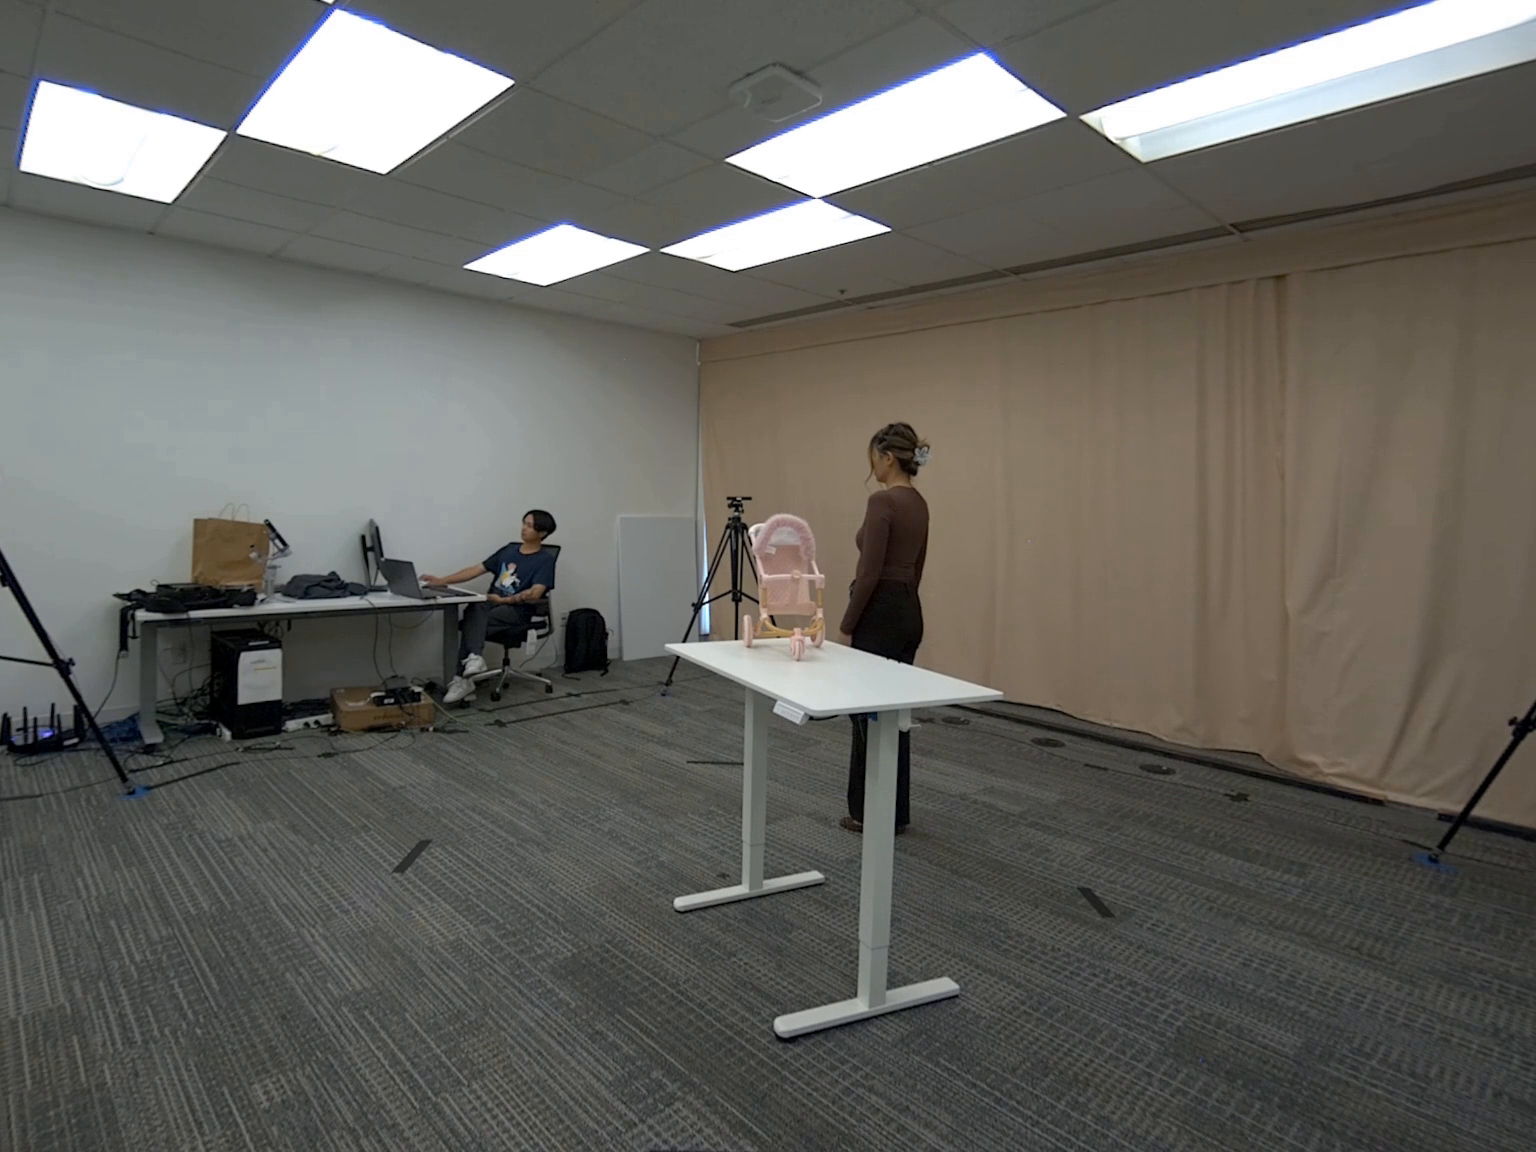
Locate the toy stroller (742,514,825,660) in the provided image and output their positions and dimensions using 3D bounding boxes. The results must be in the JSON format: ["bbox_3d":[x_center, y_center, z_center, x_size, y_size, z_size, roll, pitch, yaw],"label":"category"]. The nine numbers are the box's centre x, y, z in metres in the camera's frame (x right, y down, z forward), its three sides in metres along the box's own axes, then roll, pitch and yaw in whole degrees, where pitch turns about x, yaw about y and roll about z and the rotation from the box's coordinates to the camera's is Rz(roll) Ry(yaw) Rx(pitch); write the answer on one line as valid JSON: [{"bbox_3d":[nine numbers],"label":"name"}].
[{"bbox_3d":[0.059,0.033,2.850,0.280,0.541,0.339,0,-14,-6],"label":"toy stroller"}]
